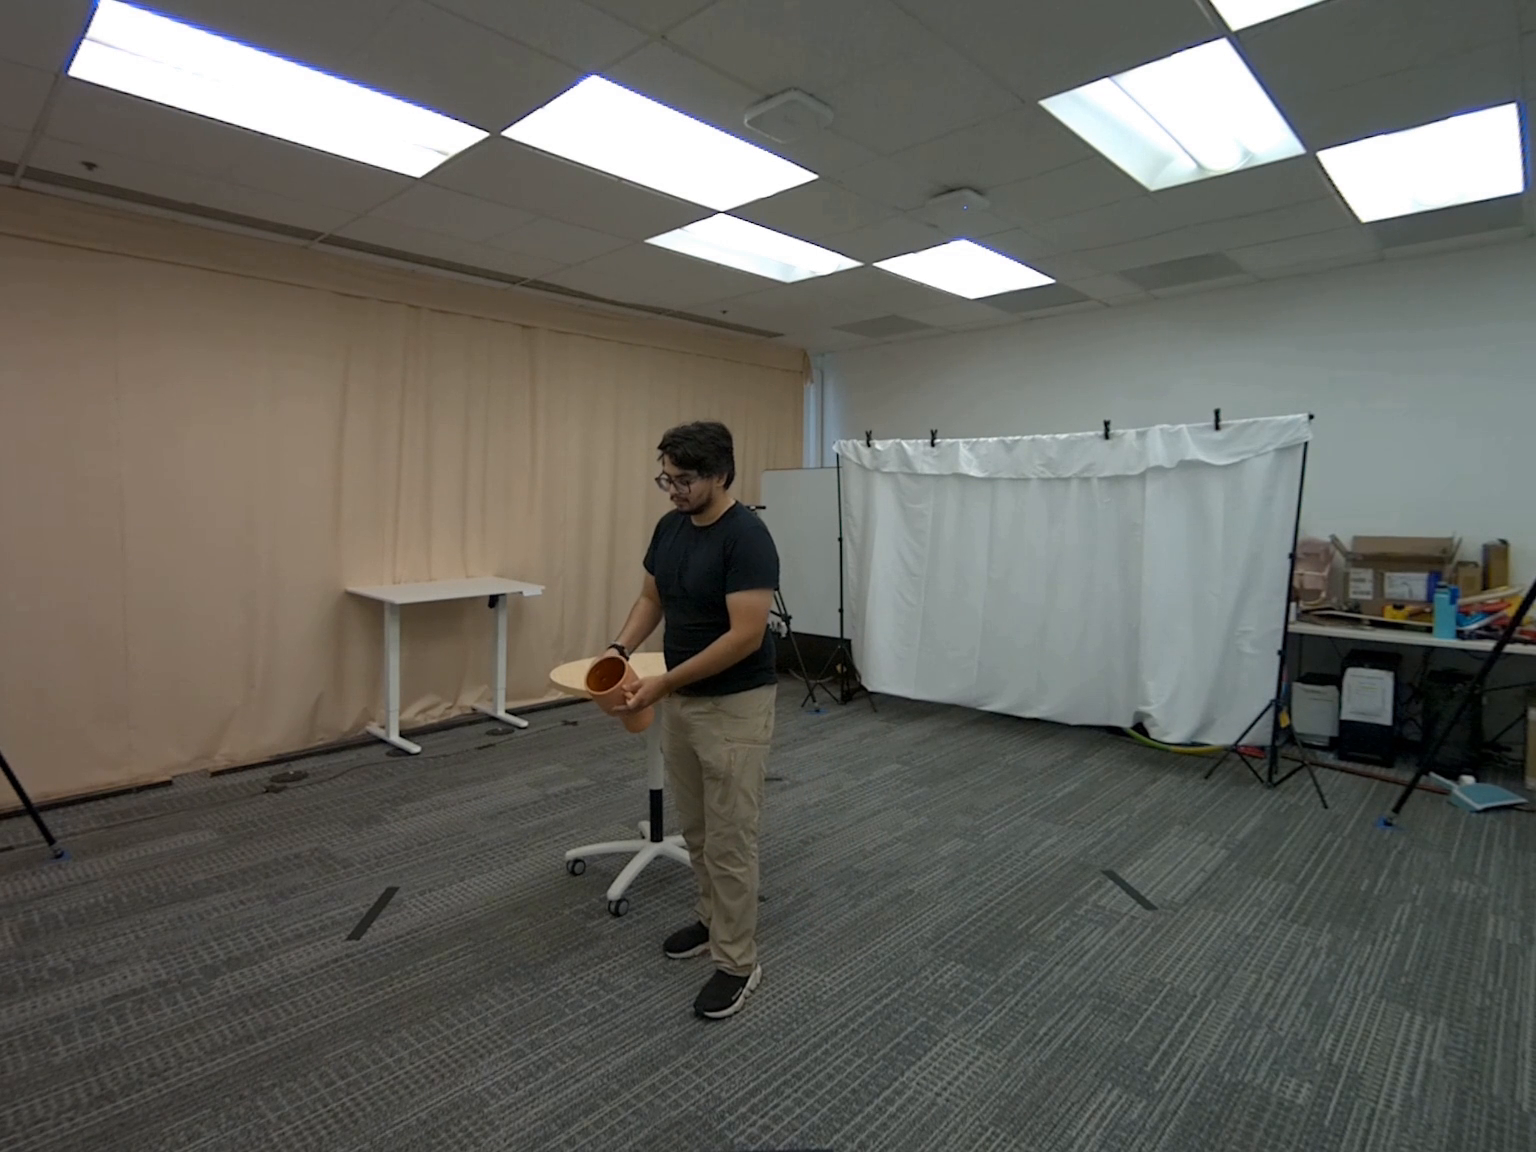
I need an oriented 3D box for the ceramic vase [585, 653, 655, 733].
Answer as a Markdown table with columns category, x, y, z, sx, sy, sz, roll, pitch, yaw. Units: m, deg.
| category | x | y | z | sx | sy | sz | roll | pitch | yaw |
| --- | --- | --- | --- | --- | --- | --- | --- | --- | --- |
| ceramic vase | -0.404 | 0.341 | 2.349 | 0.136 | 0.213 | 0.162 | -20 | 40 | 10 |
